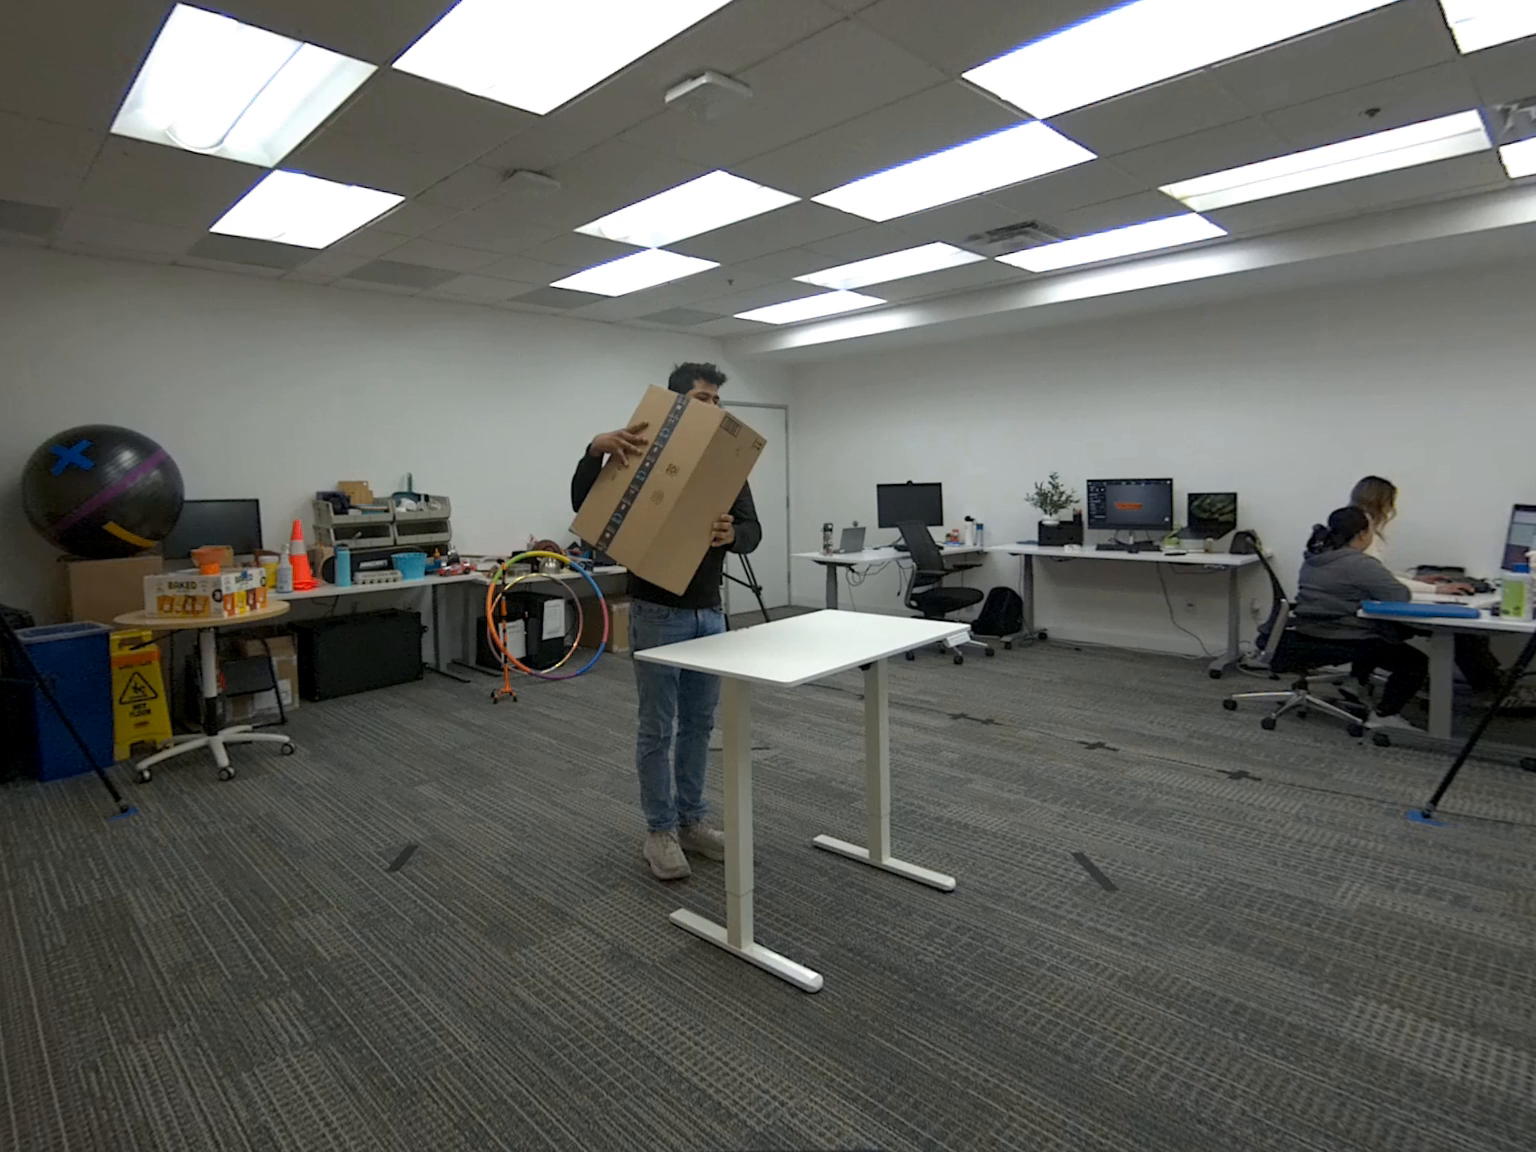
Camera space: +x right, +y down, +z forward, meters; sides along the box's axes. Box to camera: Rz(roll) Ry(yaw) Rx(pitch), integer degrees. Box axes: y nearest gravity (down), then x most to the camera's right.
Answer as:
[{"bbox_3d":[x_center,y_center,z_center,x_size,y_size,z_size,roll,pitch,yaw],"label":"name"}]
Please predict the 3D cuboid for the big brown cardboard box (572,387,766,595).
[{"bbox_3d":[-0.329,-0.275,2.775,0.434,0.589,0.224,29,1,44],"label":"big brown cardboard box"}]
